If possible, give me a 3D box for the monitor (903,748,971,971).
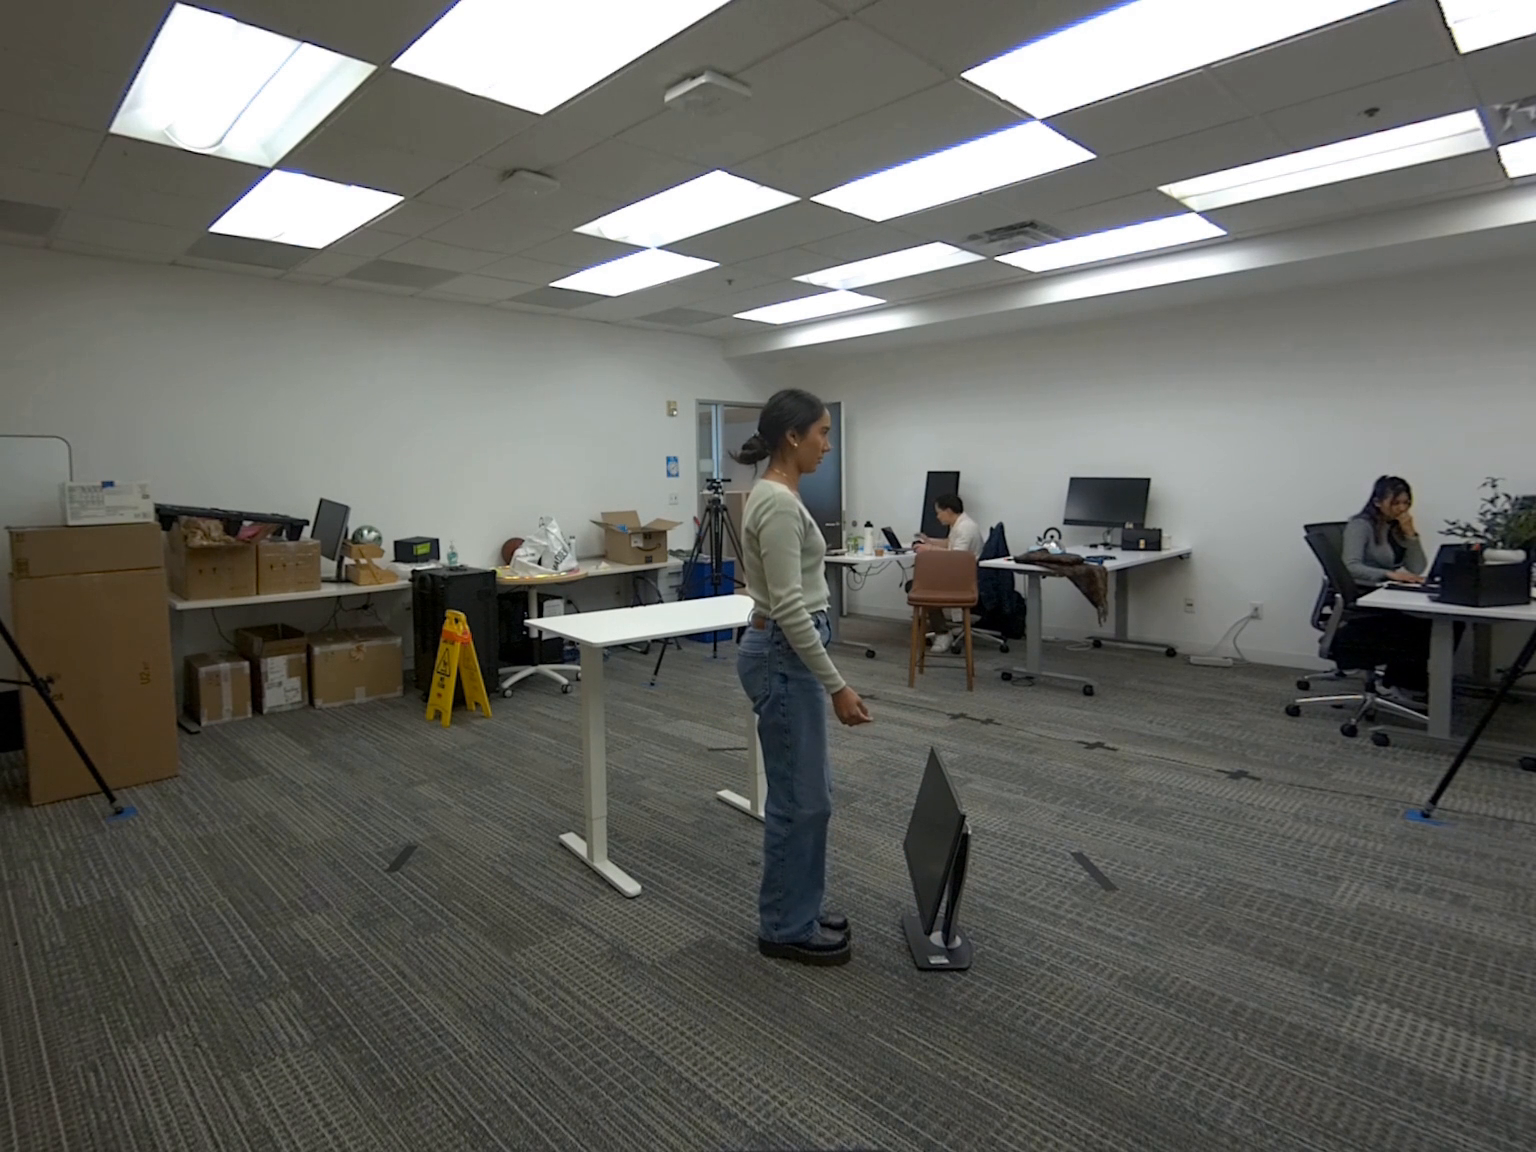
[{"bbox_3d":[0.505,0.844,2.522,0.187,0.520,0.541,0,7,0],"label":"monitor"}]
